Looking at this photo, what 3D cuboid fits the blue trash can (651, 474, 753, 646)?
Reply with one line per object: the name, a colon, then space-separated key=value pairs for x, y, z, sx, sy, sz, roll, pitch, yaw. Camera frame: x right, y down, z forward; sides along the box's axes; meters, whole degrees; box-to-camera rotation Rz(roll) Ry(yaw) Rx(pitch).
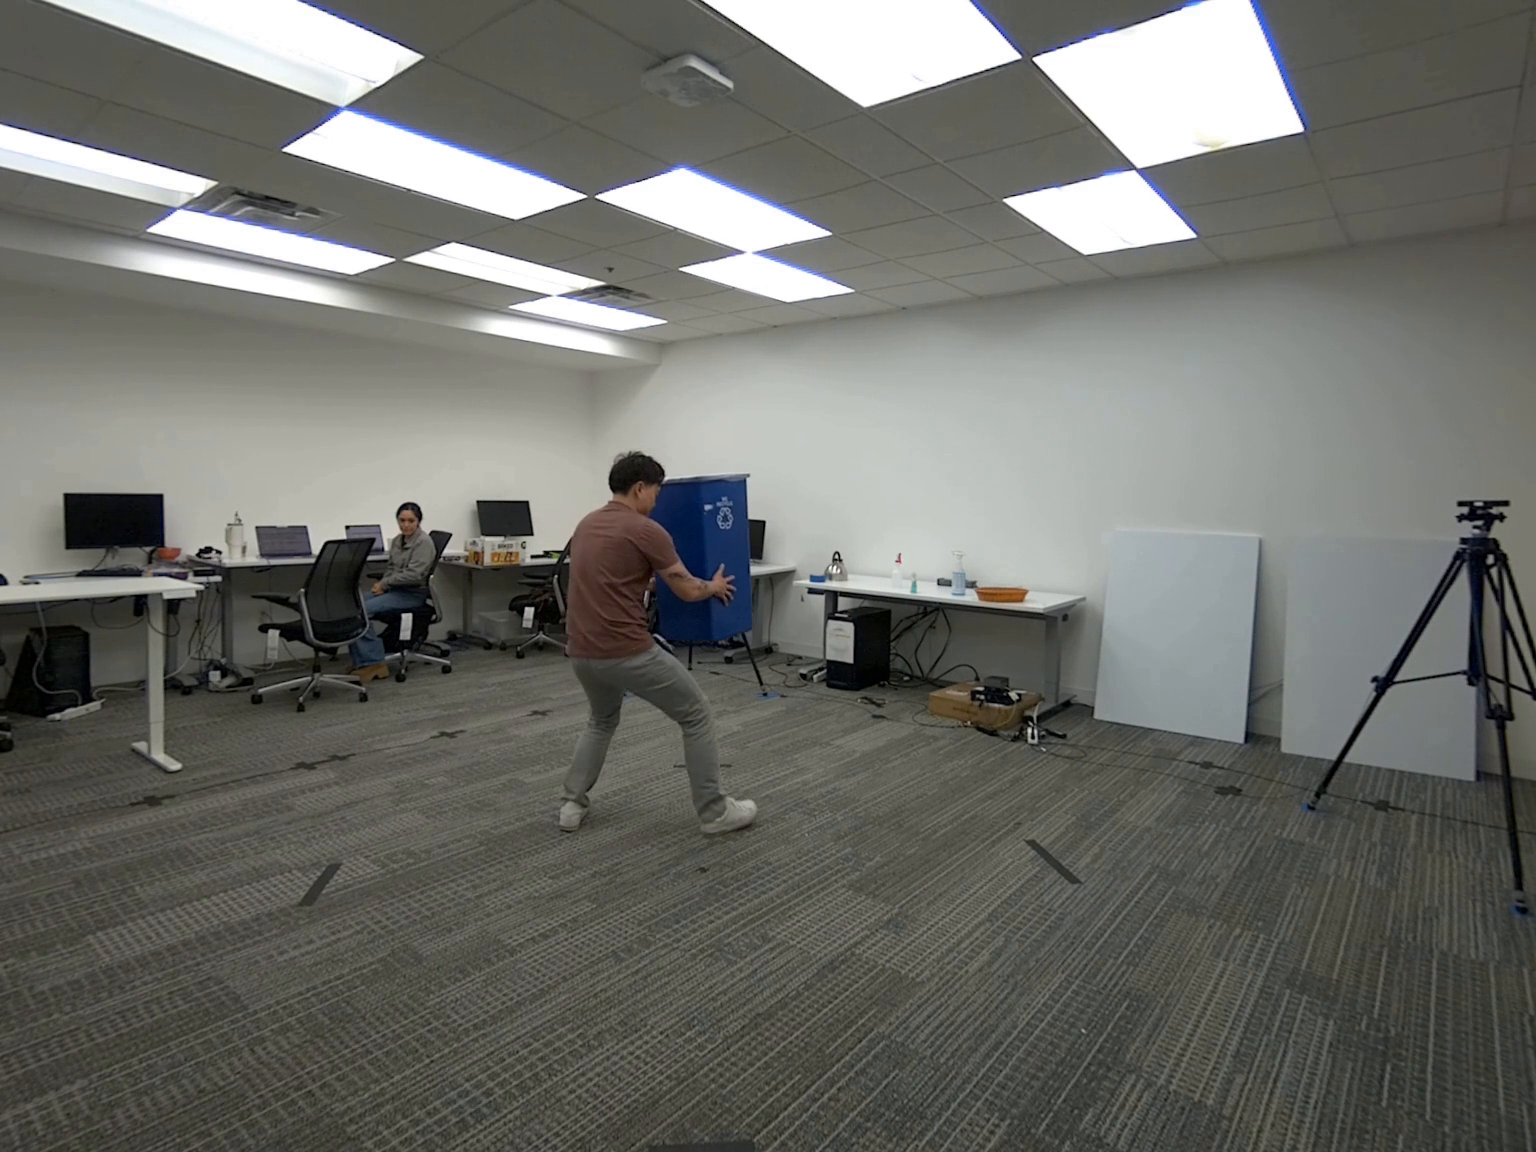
blue trash can: x=-0.313 y=-0.090 z=3.819 sx=0.390 sy=0.710 sz=0.364 roll=-1 pitch=6 yaw=38
